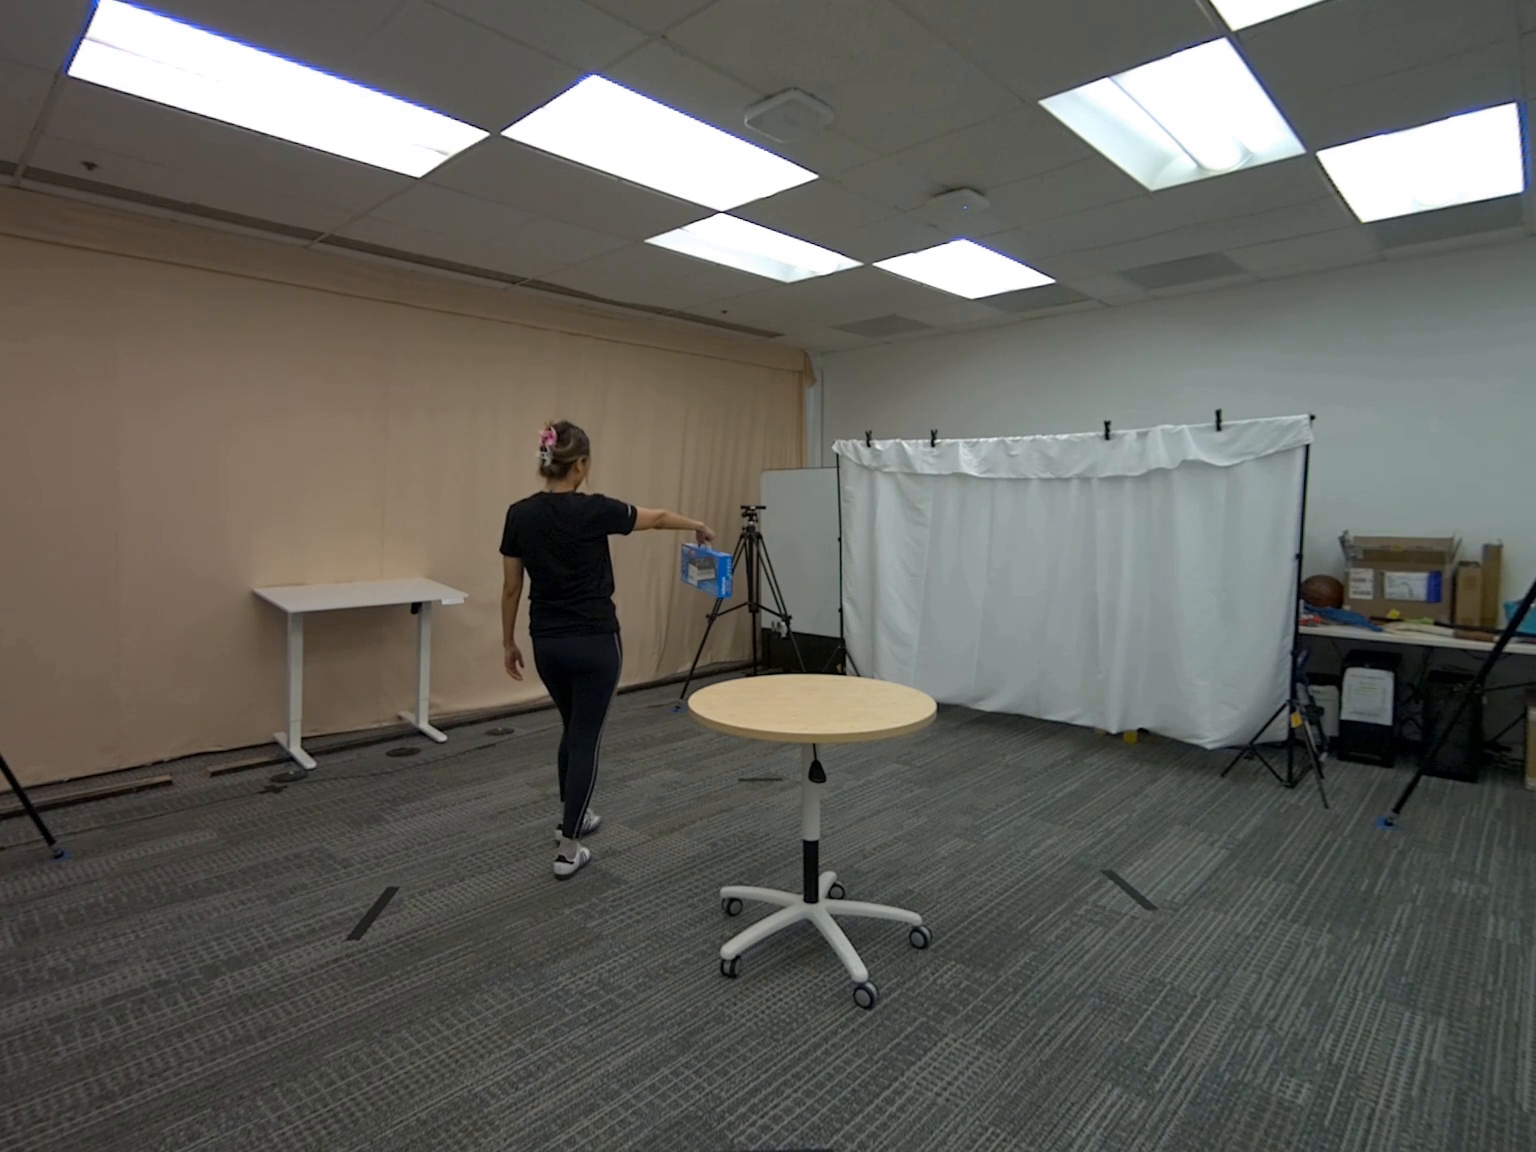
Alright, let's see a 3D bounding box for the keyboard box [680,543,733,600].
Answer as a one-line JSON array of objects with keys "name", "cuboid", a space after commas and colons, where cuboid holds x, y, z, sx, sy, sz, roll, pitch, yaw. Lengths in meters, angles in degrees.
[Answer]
[{"name": "keyboard box", "cuboid": [-0.267, -0.027, 3.615, 0.058, 0.175, 0.449, -1, 9, -26]}]
